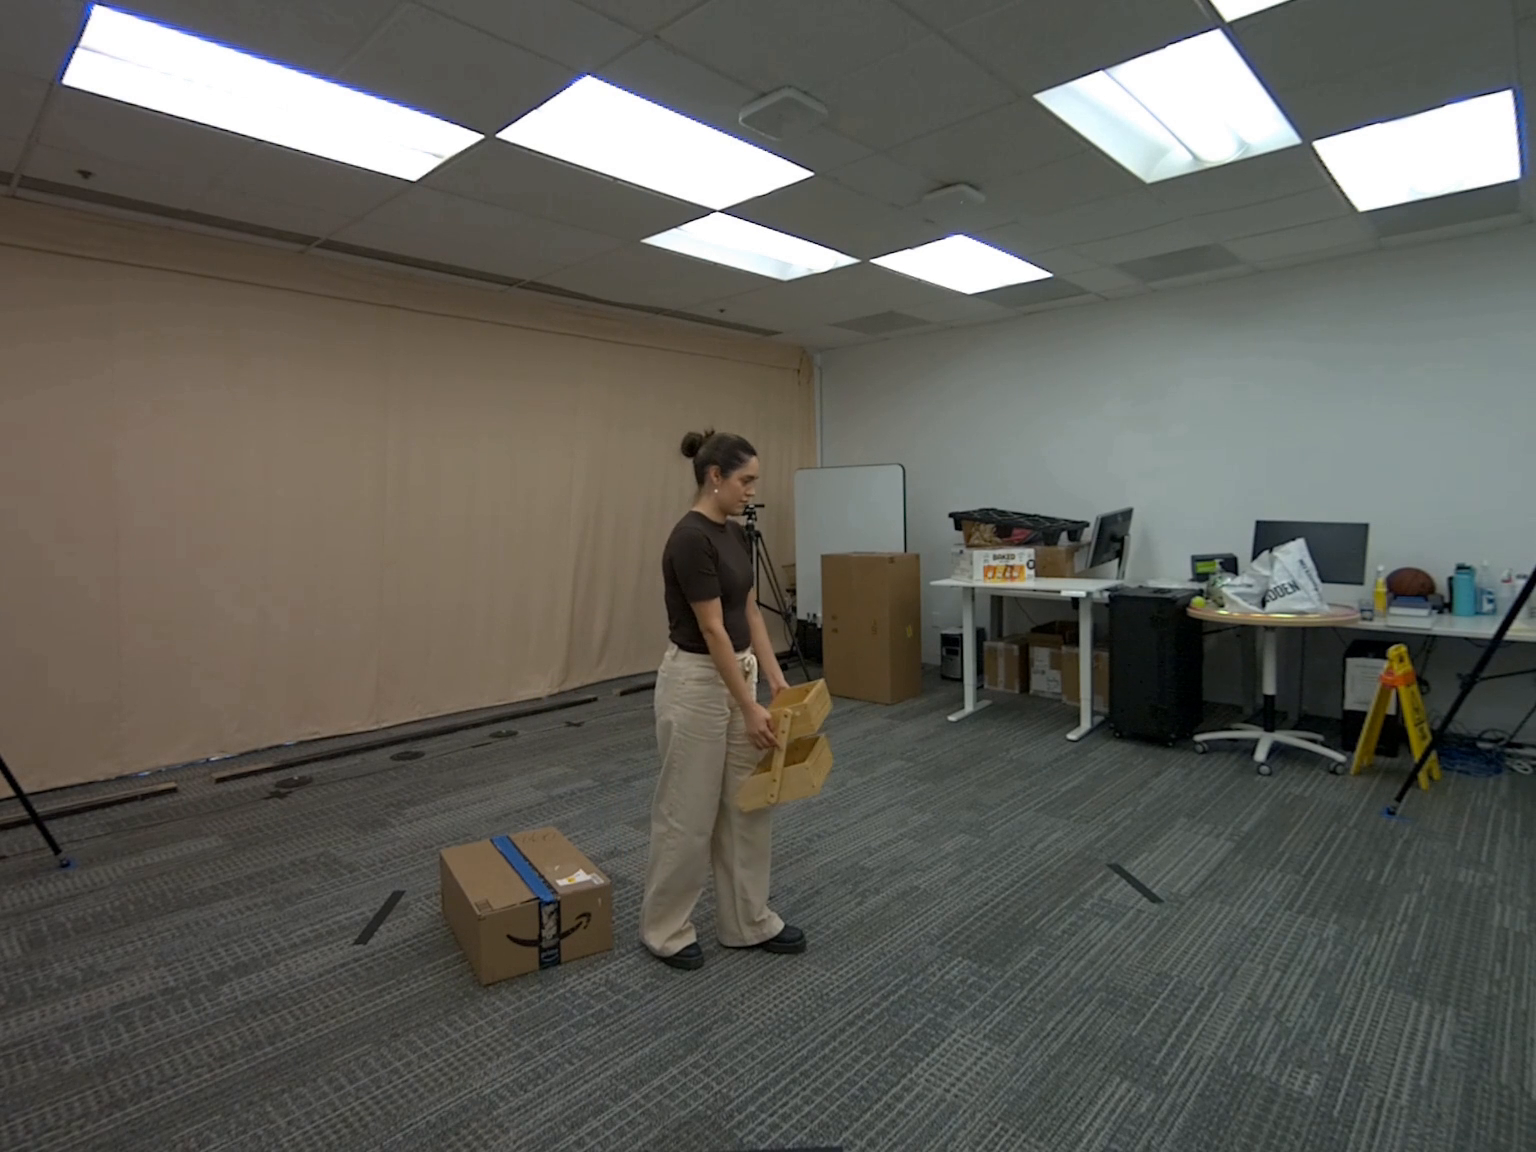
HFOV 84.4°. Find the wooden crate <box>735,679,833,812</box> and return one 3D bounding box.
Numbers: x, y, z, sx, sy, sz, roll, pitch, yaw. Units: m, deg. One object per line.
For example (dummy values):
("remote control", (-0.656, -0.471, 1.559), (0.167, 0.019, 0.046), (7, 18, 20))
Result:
("wooden crate", (0.040, 0.505, 2.543), (0.306, 0.273, 0.320), (-17, 0, 16))
